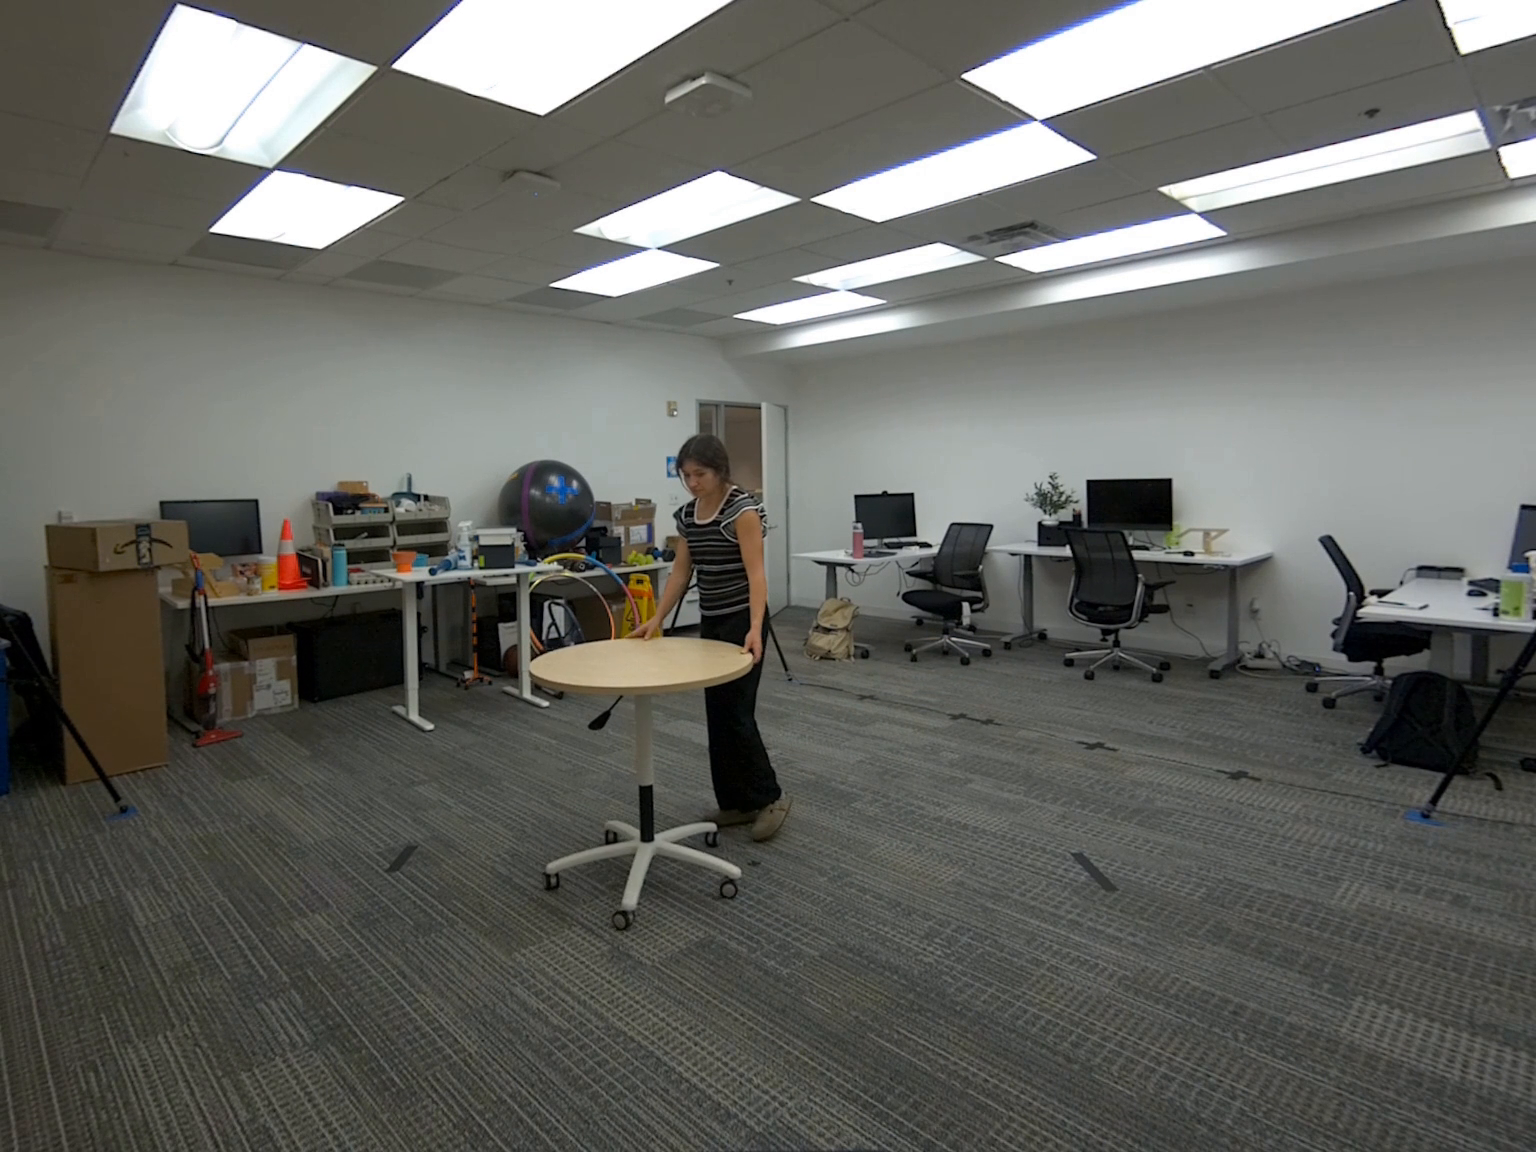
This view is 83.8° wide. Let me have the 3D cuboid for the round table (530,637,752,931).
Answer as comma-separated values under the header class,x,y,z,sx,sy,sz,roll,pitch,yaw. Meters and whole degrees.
class,x,y,z,sx,sy,sz,roll,pitch,yaw
round table,-0.434,0.674,2.963,0.784,0.783,0.789,-2,5,-2
